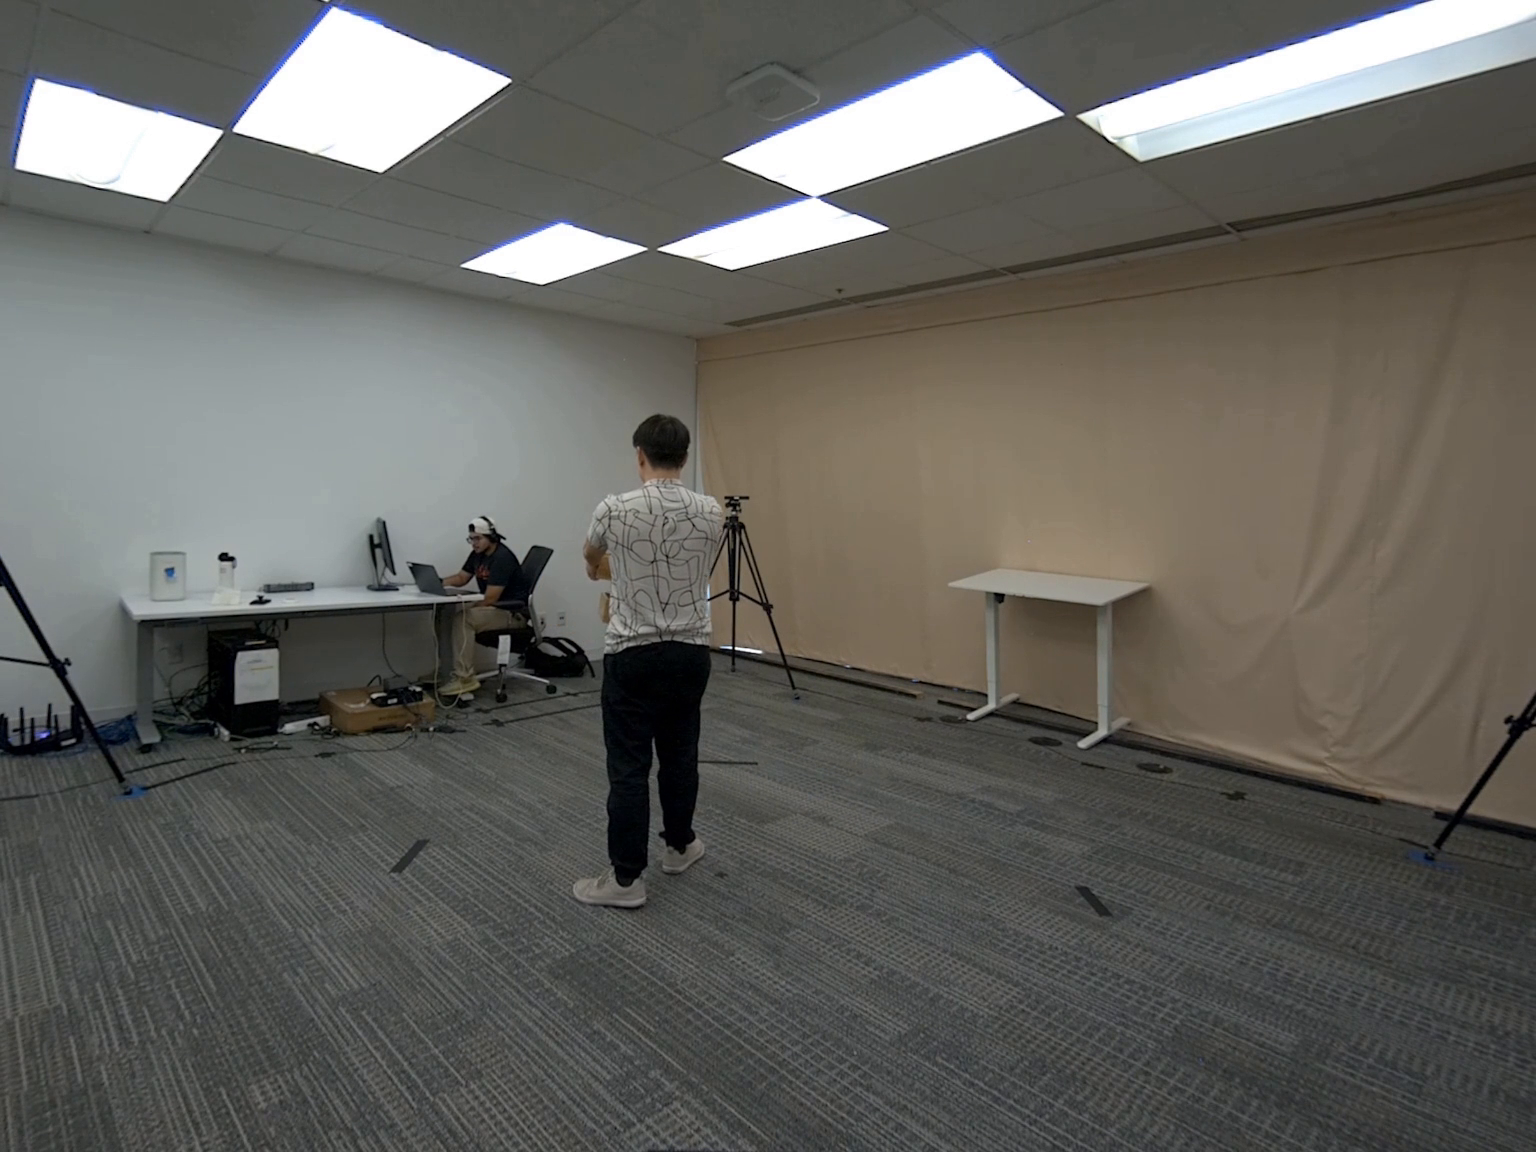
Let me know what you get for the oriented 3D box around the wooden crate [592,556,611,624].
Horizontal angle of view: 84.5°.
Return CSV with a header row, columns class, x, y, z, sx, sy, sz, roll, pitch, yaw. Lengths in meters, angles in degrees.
class,x,y,z,sx,sy,sz,roll,pitch,yaw
wooden crate,-0.568,0.057,3.477,0.298,0.273,0.328,11,1,-13
